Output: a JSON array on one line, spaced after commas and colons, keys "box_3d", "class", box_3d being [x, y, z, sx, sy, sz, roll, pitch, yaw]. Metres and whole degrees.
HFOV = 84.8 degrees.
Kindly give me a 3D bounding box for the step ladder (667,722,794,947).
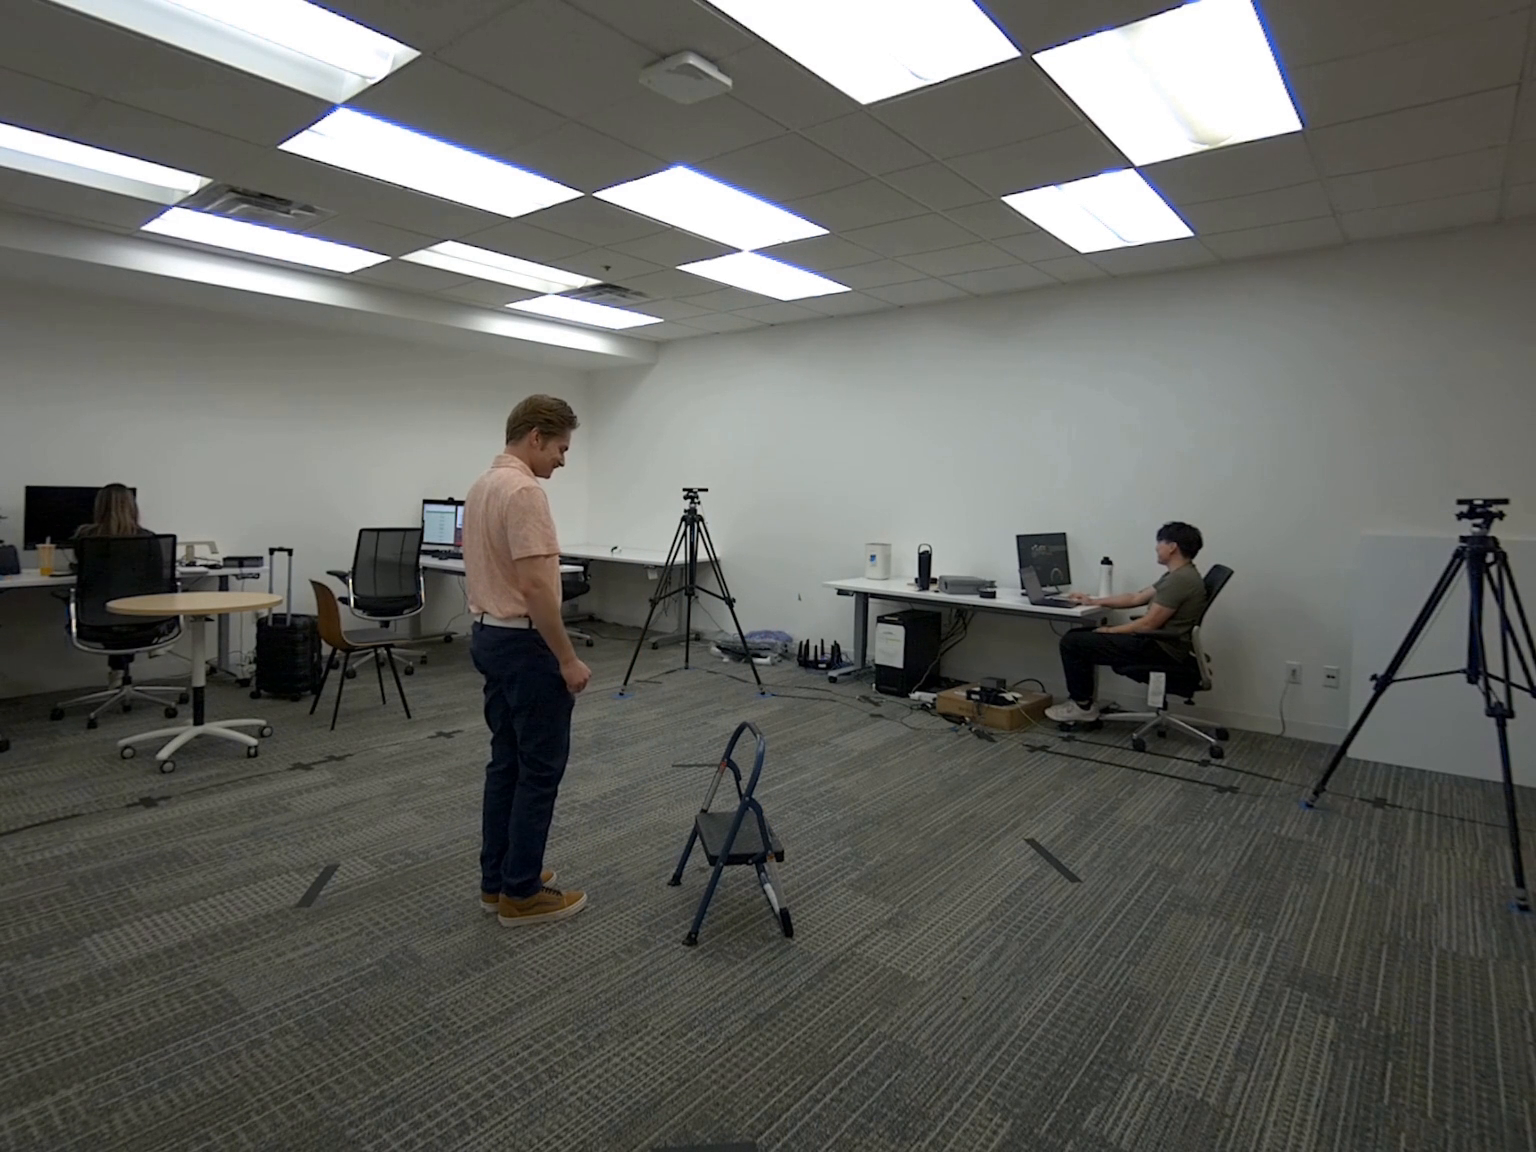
[{"box_3d": [-0.129, 0.801, 2.798, 0.345, 0.604, 0.438, 1, 4, -12], "class": "step ladder"}]
